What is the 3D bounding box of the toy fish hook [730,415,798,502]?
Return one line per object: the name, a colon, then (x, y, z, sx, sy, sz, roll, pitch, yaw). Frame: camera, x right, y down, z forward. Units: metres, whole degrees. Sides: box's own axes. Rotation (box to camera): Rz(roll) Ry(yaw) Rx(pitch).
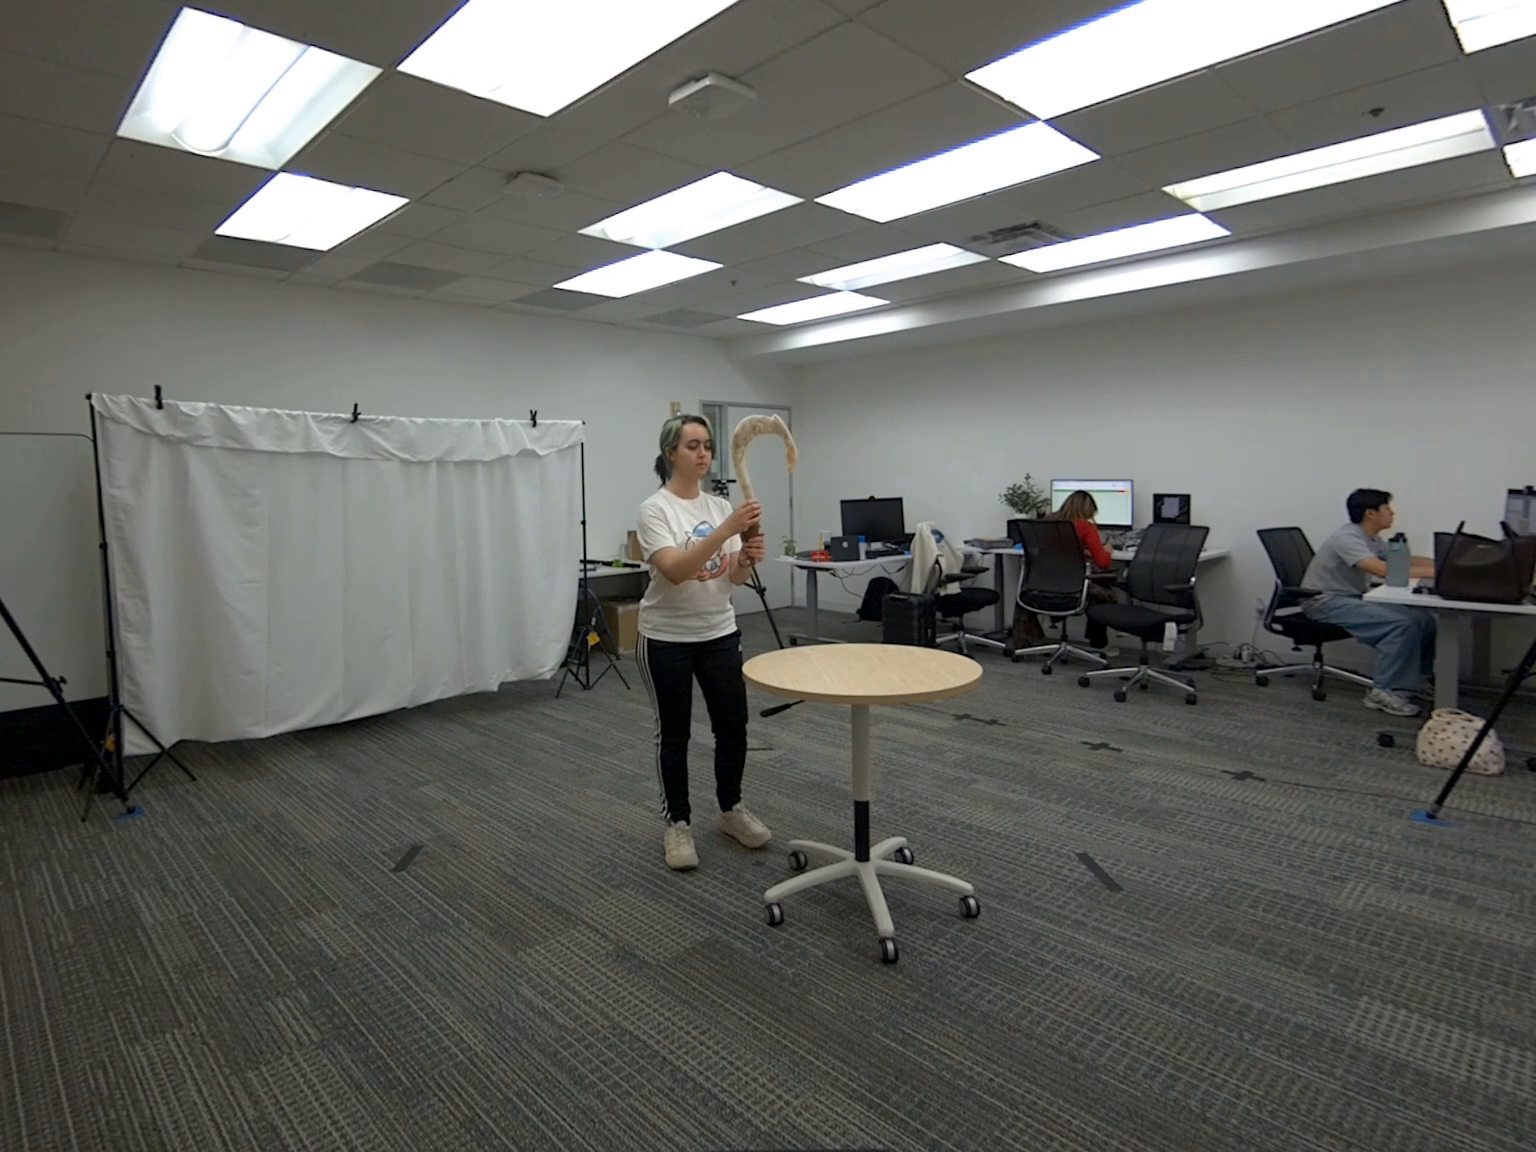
toy fish hook: (-0.009, -0.285, 2.879, 0.227, 0.502, 0.048, 1, 9, 12)
